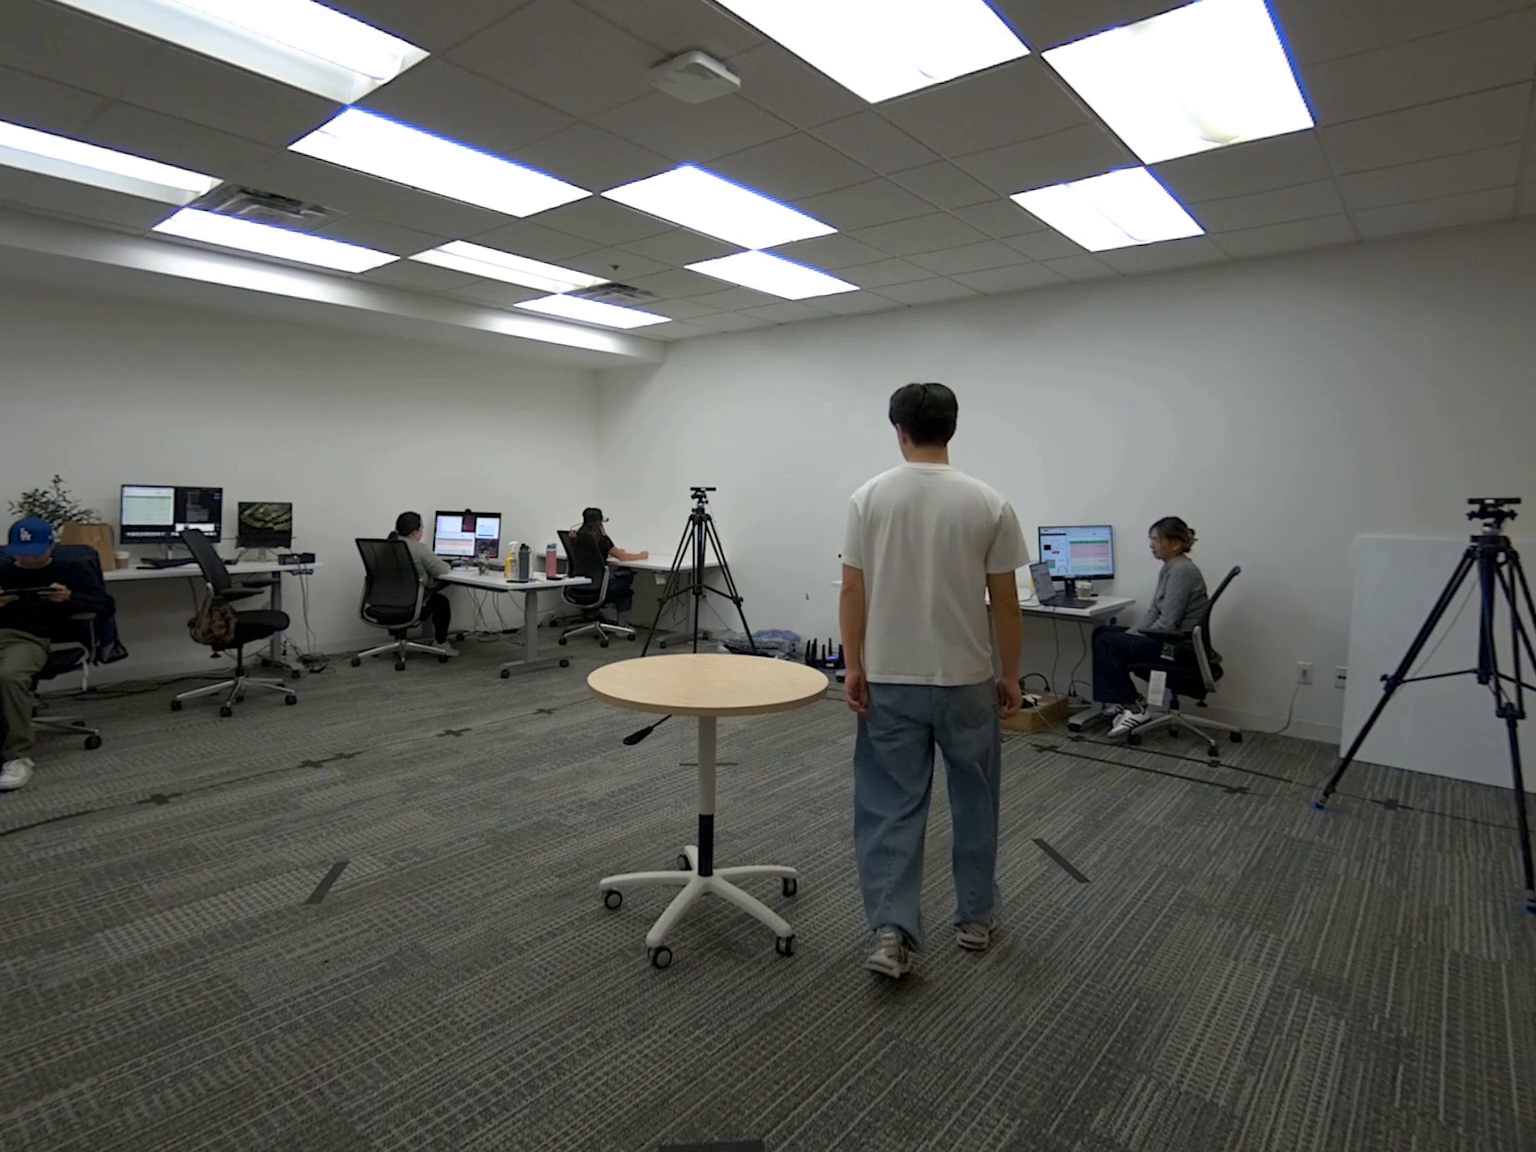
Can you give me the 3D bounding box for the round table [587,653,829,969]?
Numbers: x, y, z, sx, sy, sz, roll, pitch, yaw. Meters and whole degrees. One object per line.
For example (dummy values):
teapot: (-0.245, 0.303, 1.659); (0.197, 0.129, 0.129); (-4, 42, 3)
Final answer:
round table: (-0.212, 0.713, 2.744); (0.763, 0.791, 0.768); (1, 4, -2)
